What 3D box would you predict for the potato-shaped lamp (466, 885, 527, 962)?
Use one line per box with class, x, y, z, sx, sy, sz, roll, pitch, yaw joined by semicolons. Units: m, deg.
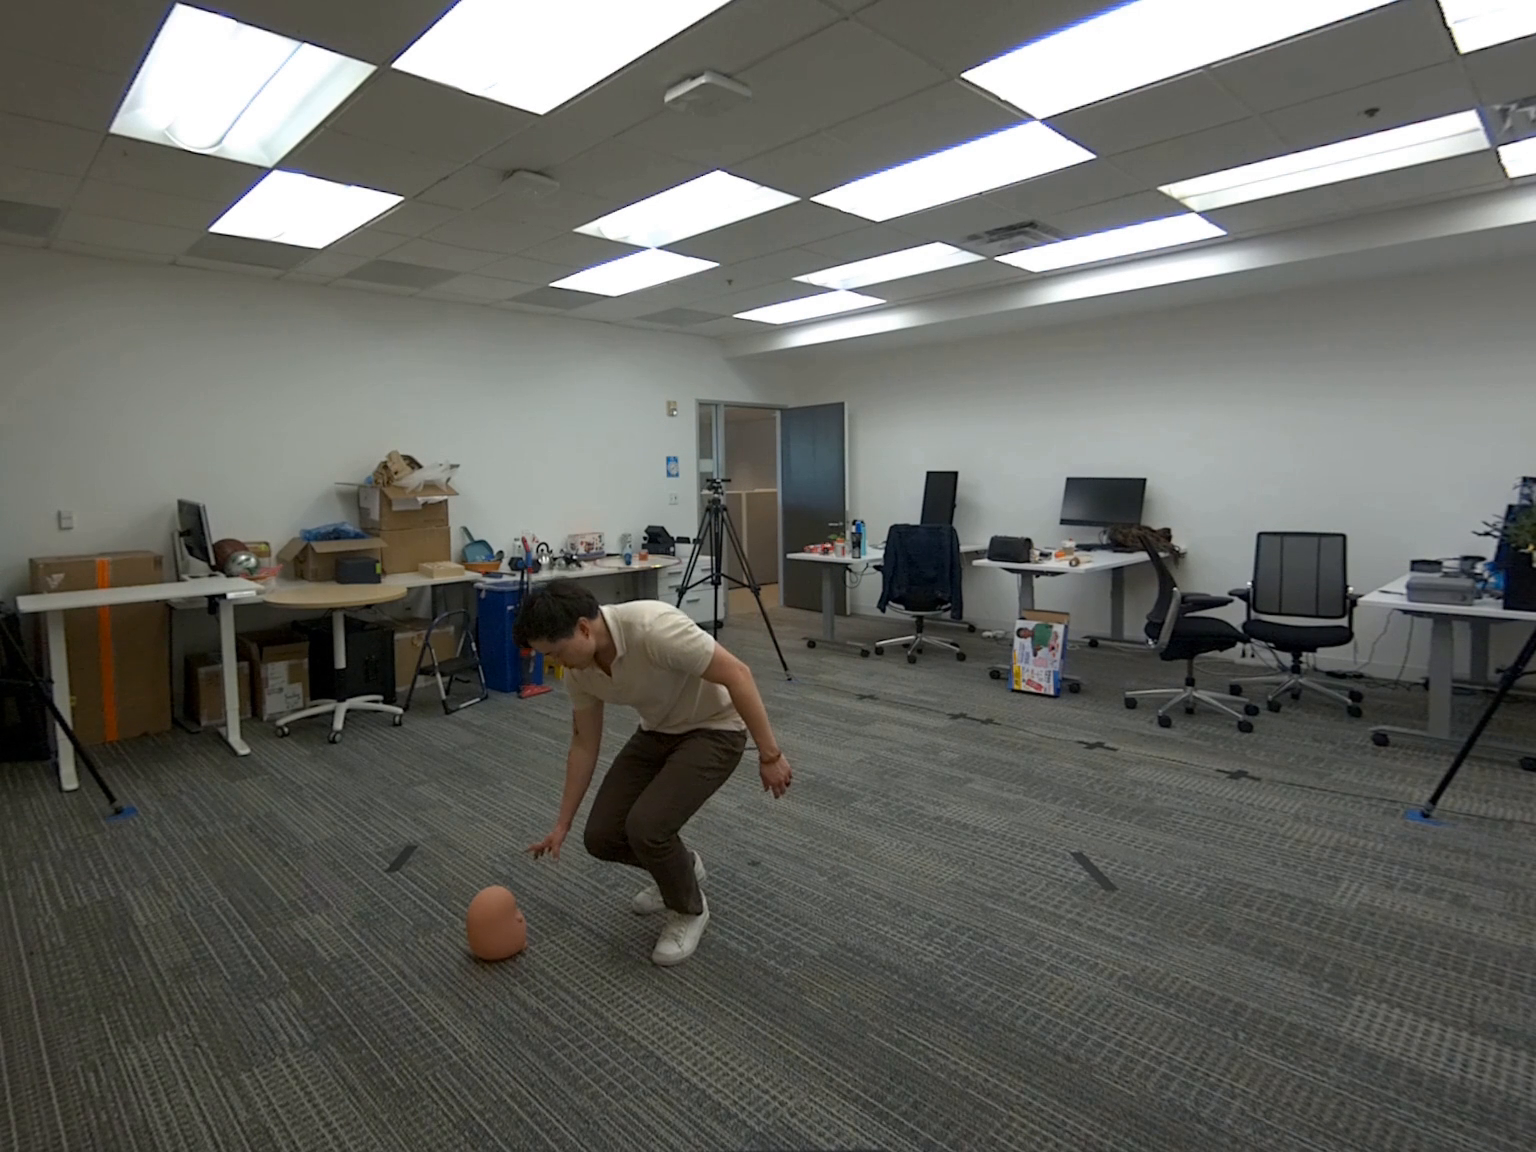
potato-shaped lamp;-0.801;1.022;2.541;0.167;0.197;0.170;-6;10;-40
